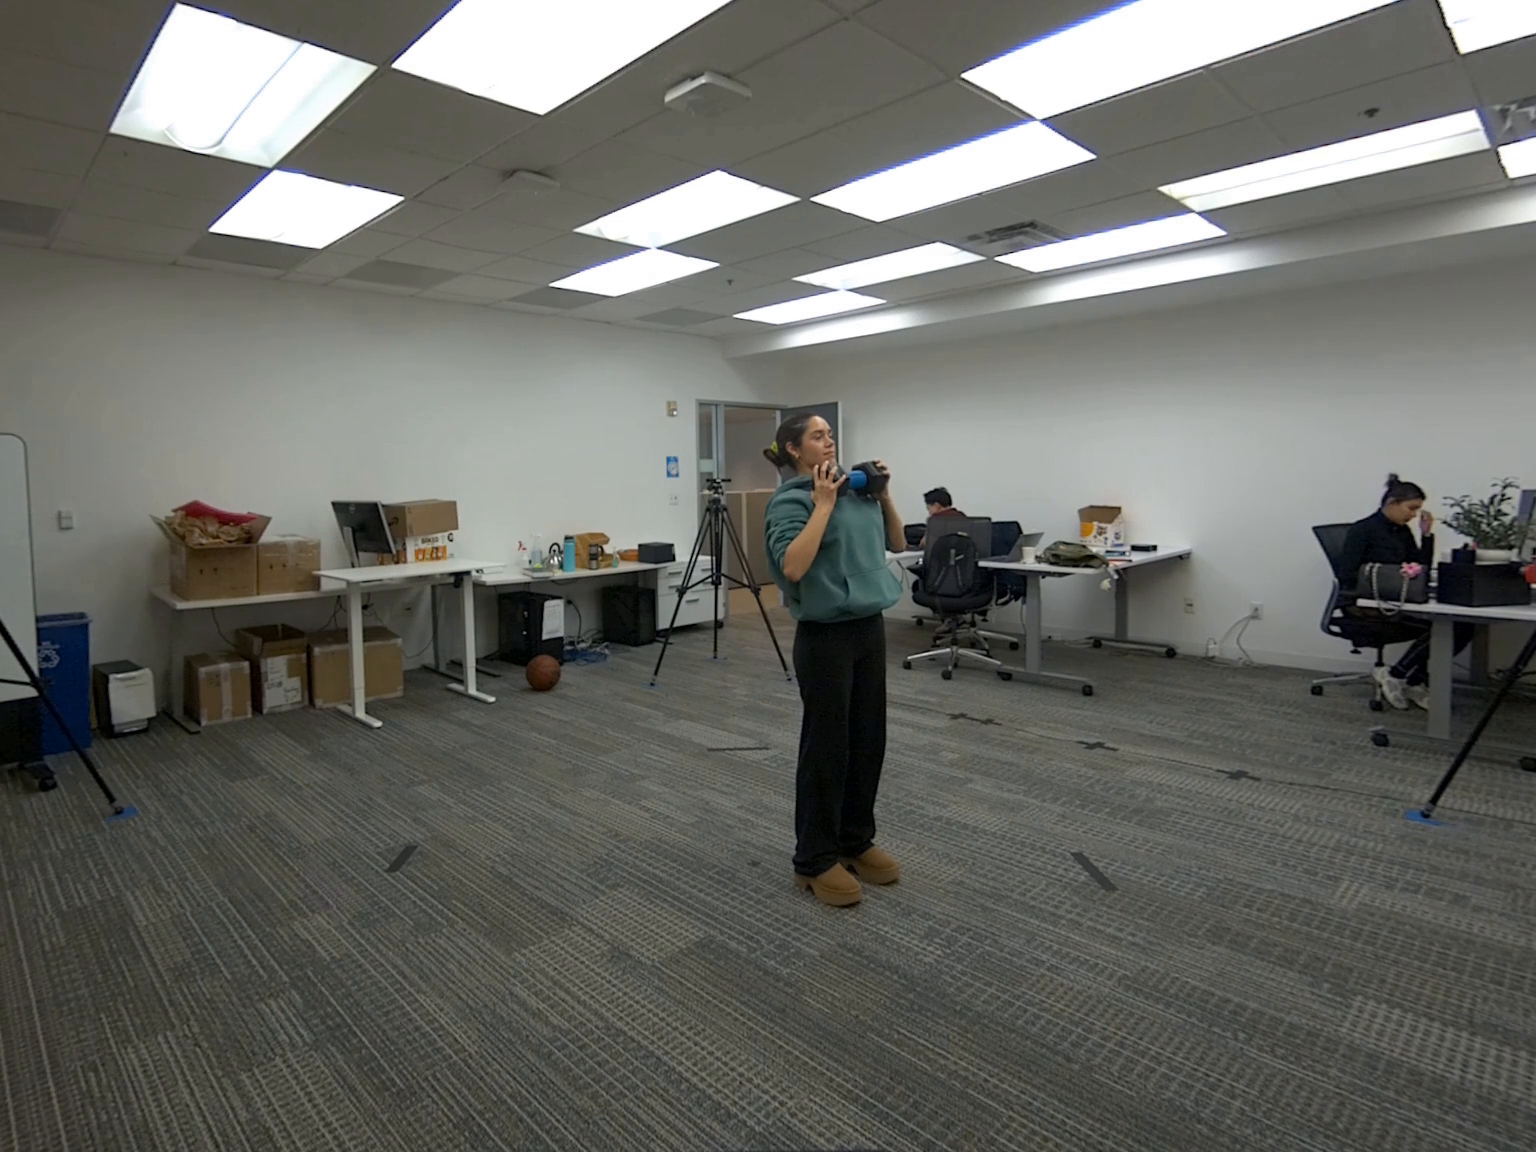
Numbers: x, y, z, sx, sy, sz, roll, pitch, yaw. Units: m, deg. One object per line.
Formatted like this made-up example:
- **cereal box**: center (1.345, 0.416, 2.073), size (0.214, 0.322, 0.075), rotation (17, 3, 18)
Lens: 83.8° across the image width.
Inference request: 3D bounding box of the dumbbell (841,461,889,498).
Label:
- **dumbbell**: center (0.259, -0.318, 2.851), size (0.112, 0.121, 0.287), rotation (29, 26, 32)
